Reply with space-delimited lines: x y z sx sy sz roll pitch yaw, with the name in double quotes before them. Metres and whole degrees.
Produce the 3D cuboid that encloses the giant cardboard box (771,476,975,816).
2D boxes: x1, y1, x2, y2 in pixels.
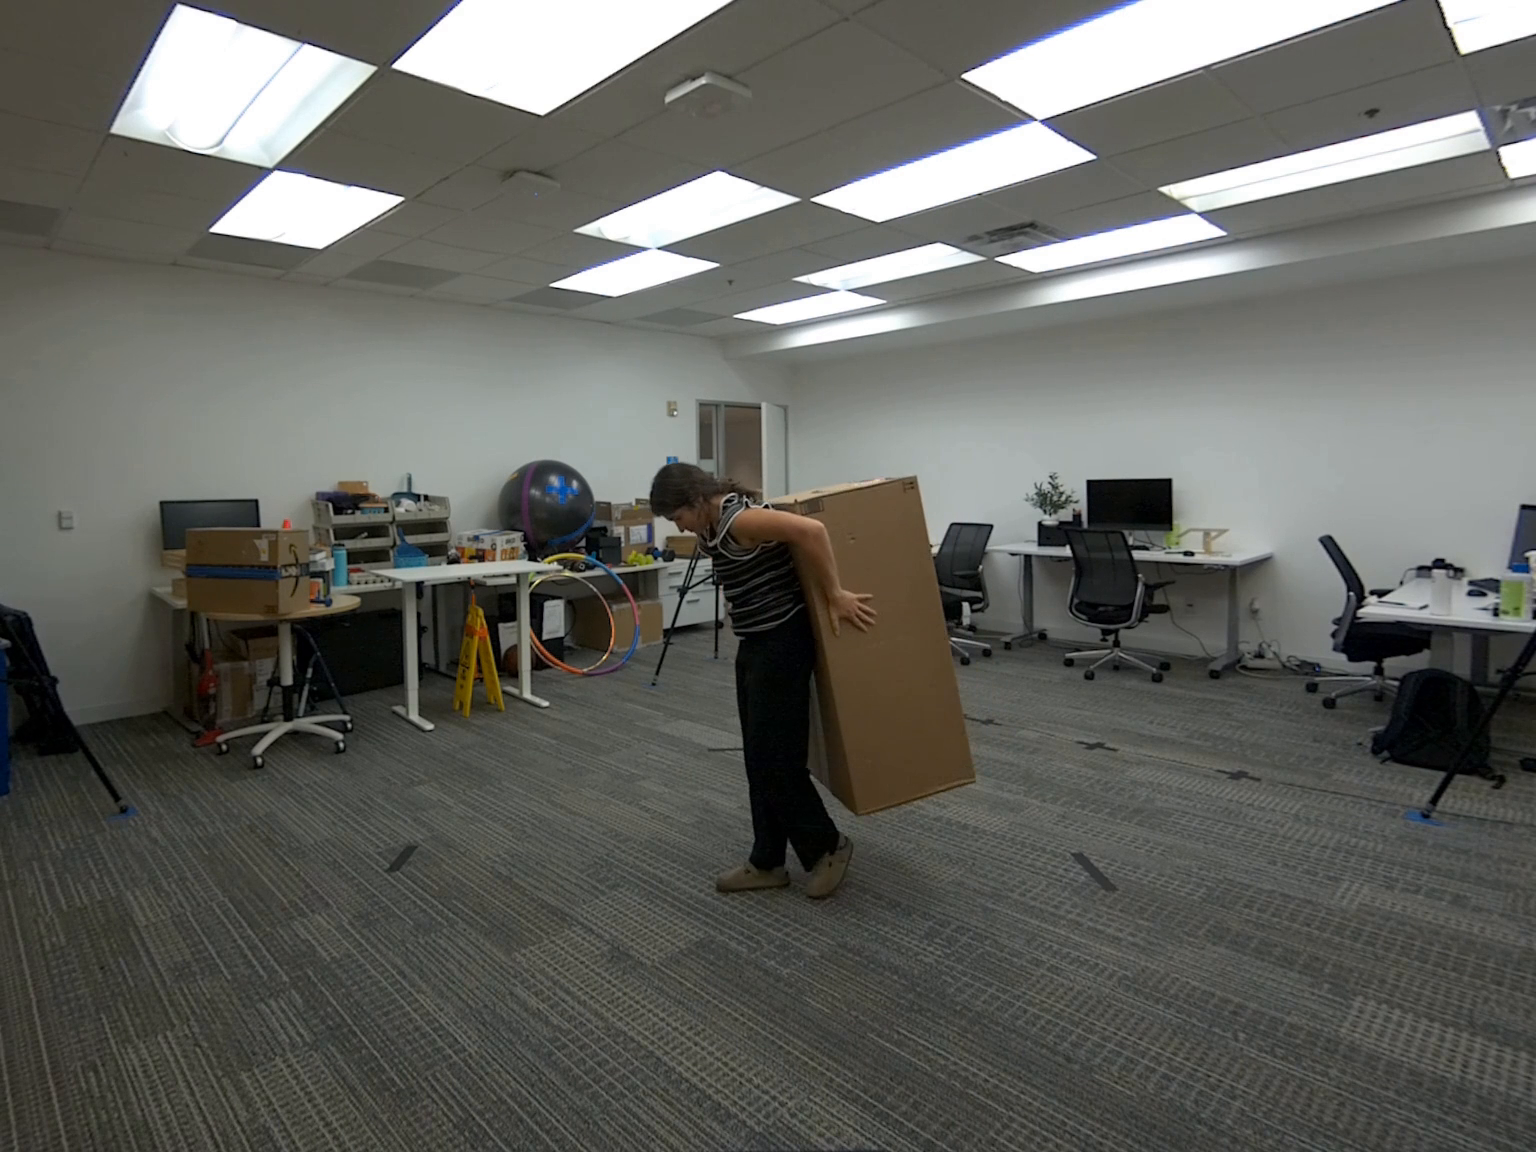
"giant cardboard box" 0.311 0.204 2.989 0.422 1.022 0.586 -13 4 -14
